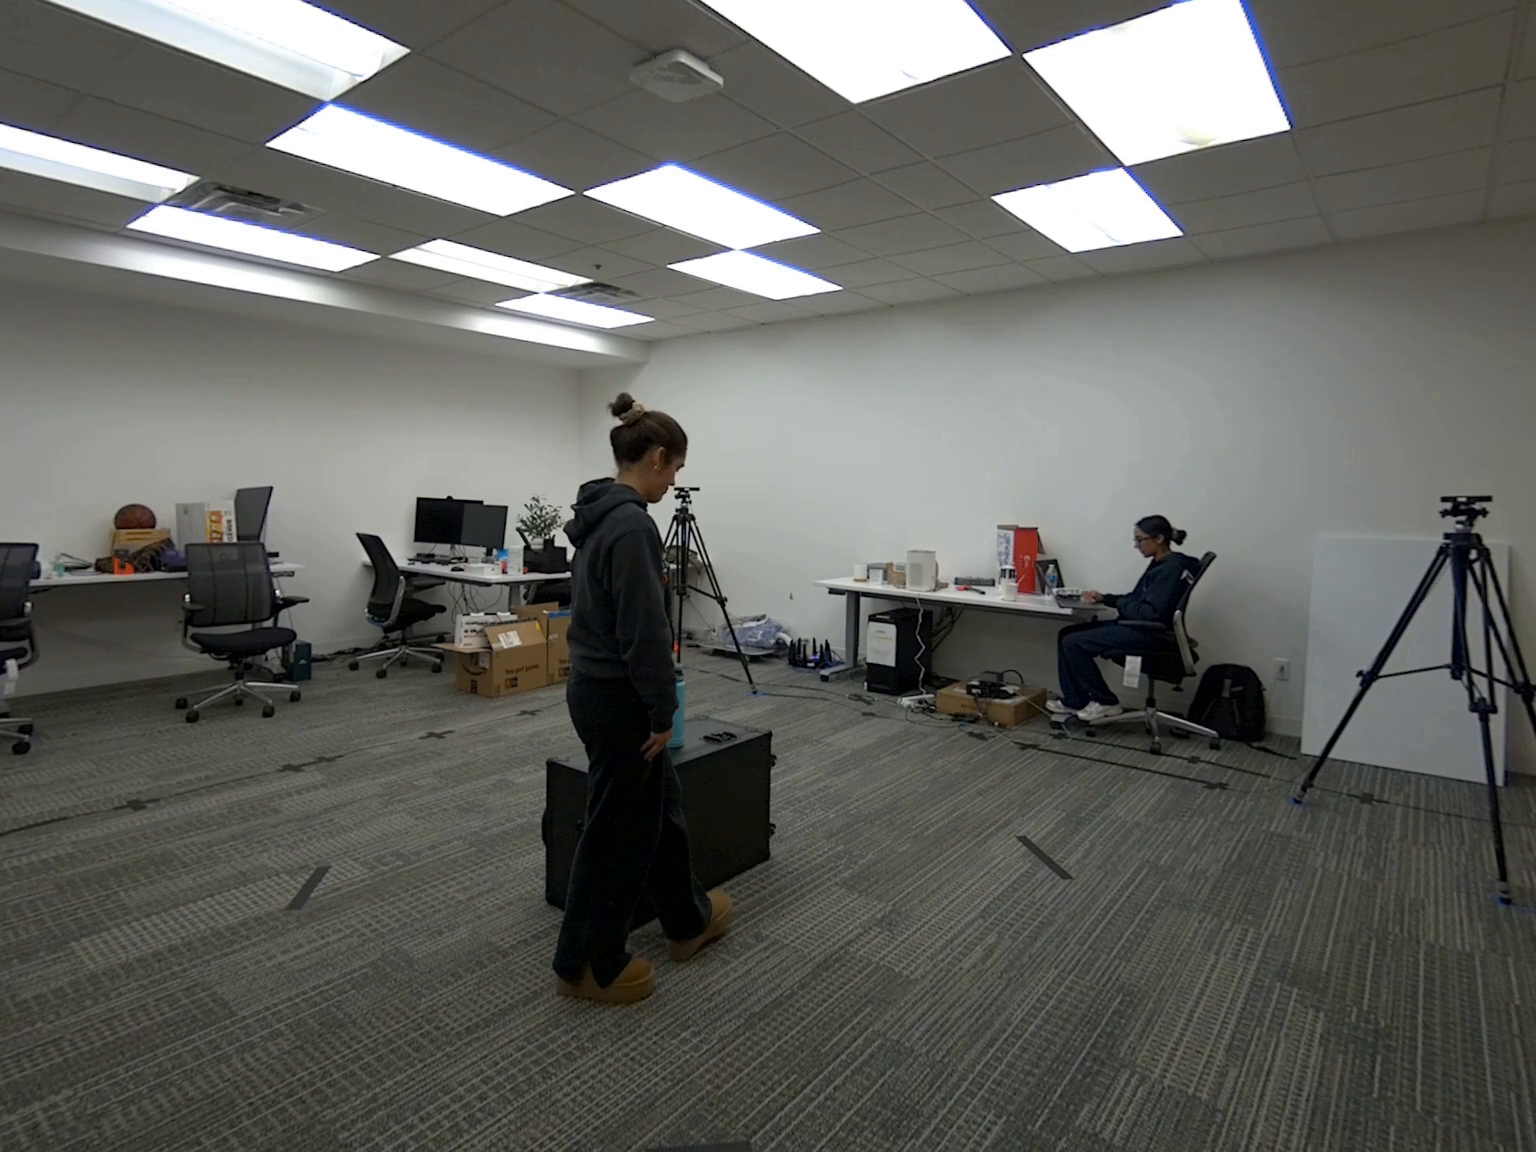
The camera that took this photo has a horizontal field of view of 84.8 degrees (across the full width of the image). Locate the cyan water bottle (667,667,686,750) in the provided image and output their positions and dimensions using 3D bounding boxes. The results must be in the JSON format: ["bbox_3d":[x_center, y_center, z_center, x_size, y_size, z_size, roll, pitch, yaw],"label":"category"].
[{"bbox_3d":[-0.339,0.452,3.003,0.092,0.282,0.093,-1,4,-2],"label":"cyan water bottle"}]
